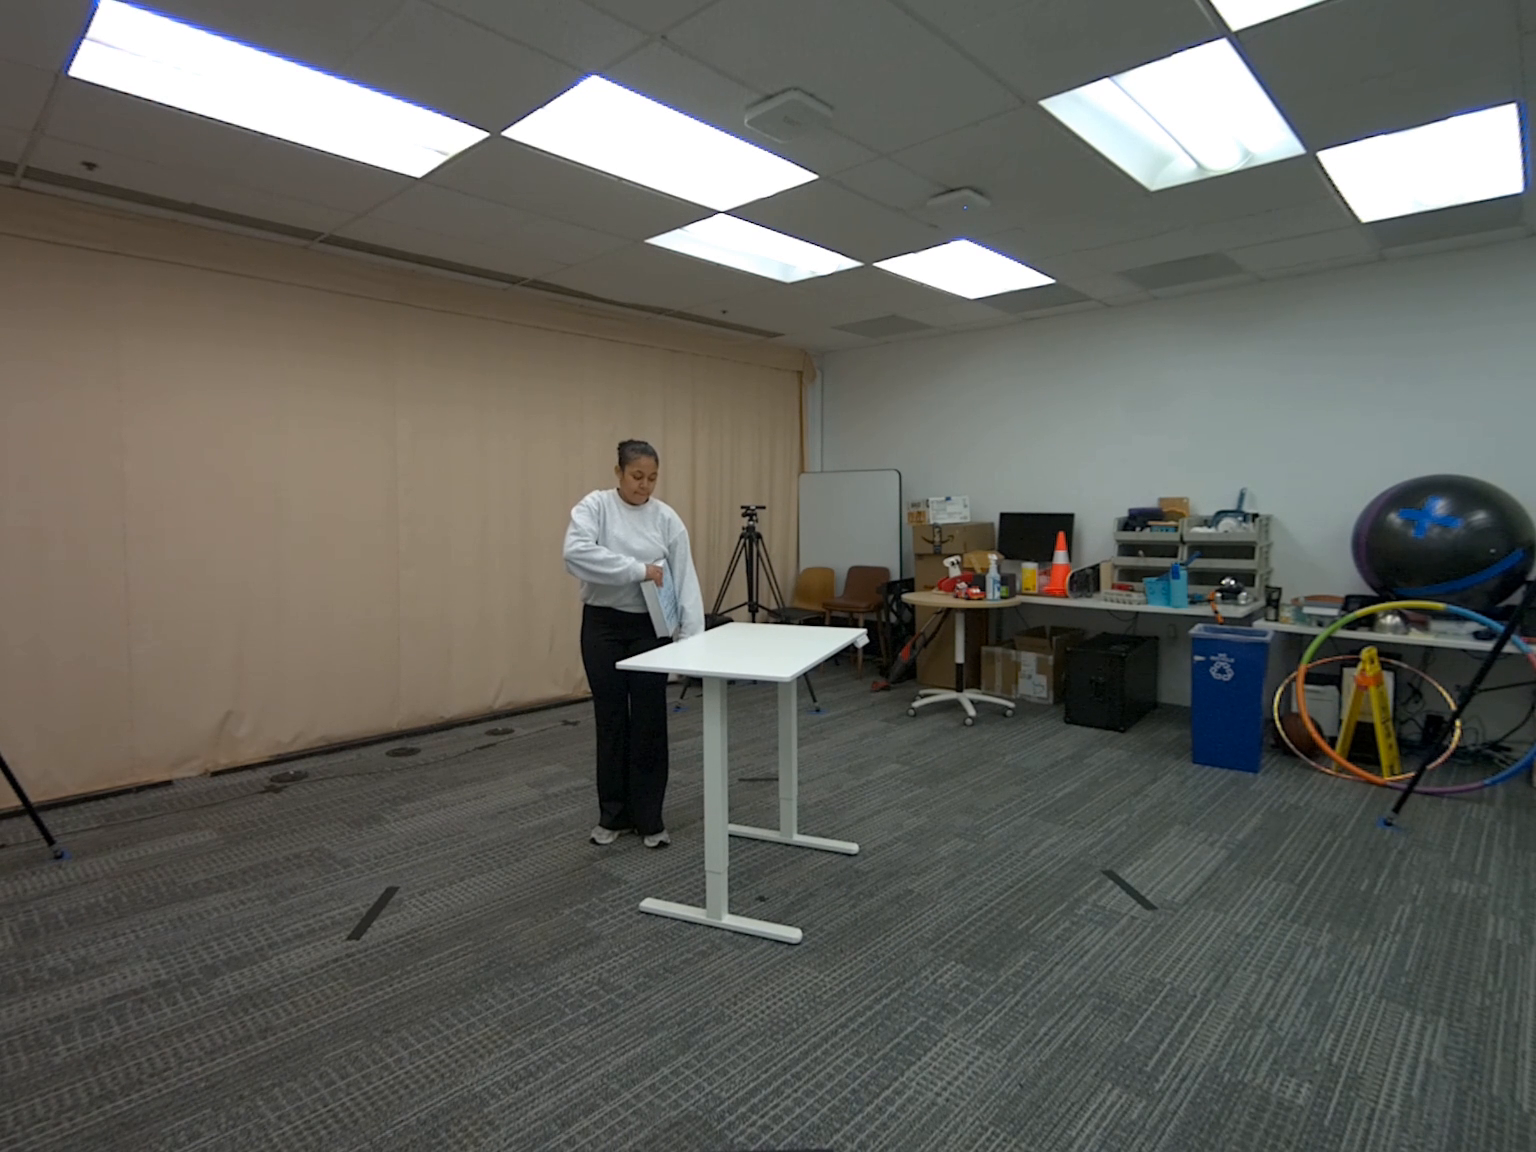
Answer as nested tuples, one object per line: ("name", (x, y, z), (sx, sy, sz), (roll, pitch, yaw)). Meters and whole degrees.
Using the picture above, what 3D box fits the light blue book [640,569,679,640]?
("light blue book", (-0.430, 0.087, 3.391), (0.060, 0.256, 0.192), (-6, 26, 13))
